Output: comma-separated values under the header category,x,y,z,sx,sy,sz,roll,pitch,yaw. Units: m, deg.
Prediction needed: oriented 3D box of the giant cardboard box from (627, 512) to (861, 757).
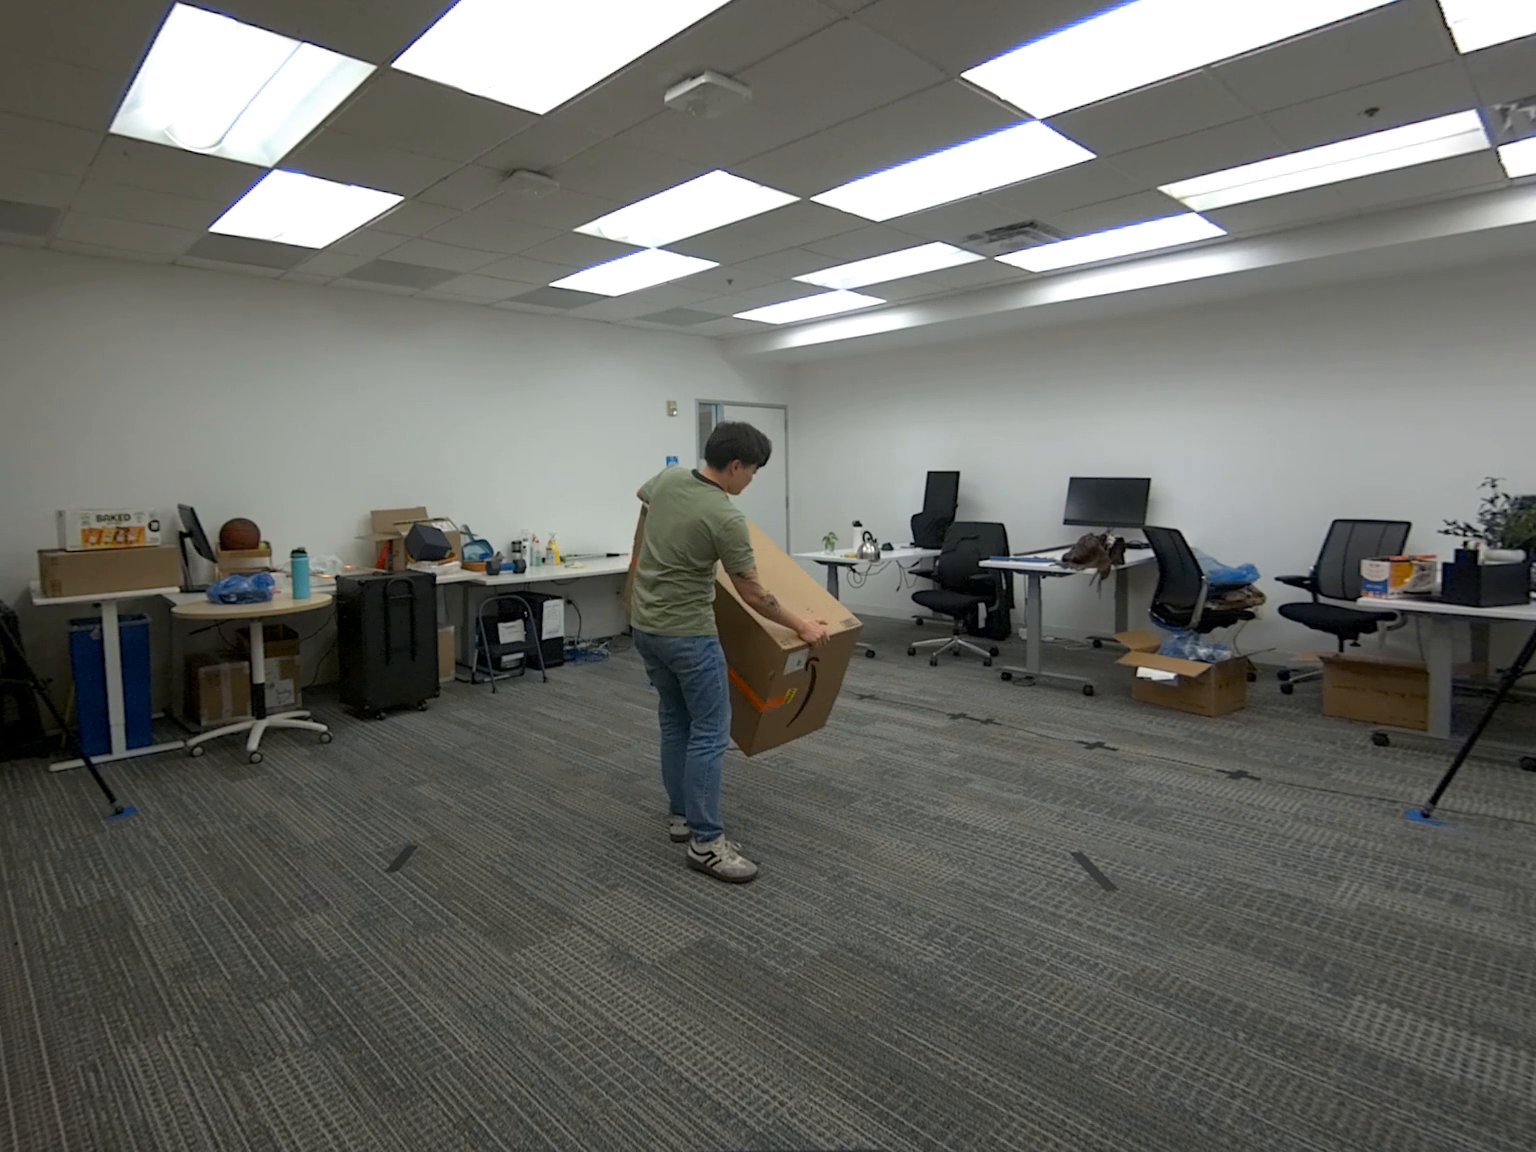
category,x,y,z,sx,sy,sz,roll,pitch,yaw
giant cardboard box,-0.150,0.170,3.687,0.417,0.568,1.066,-12,41,-36
